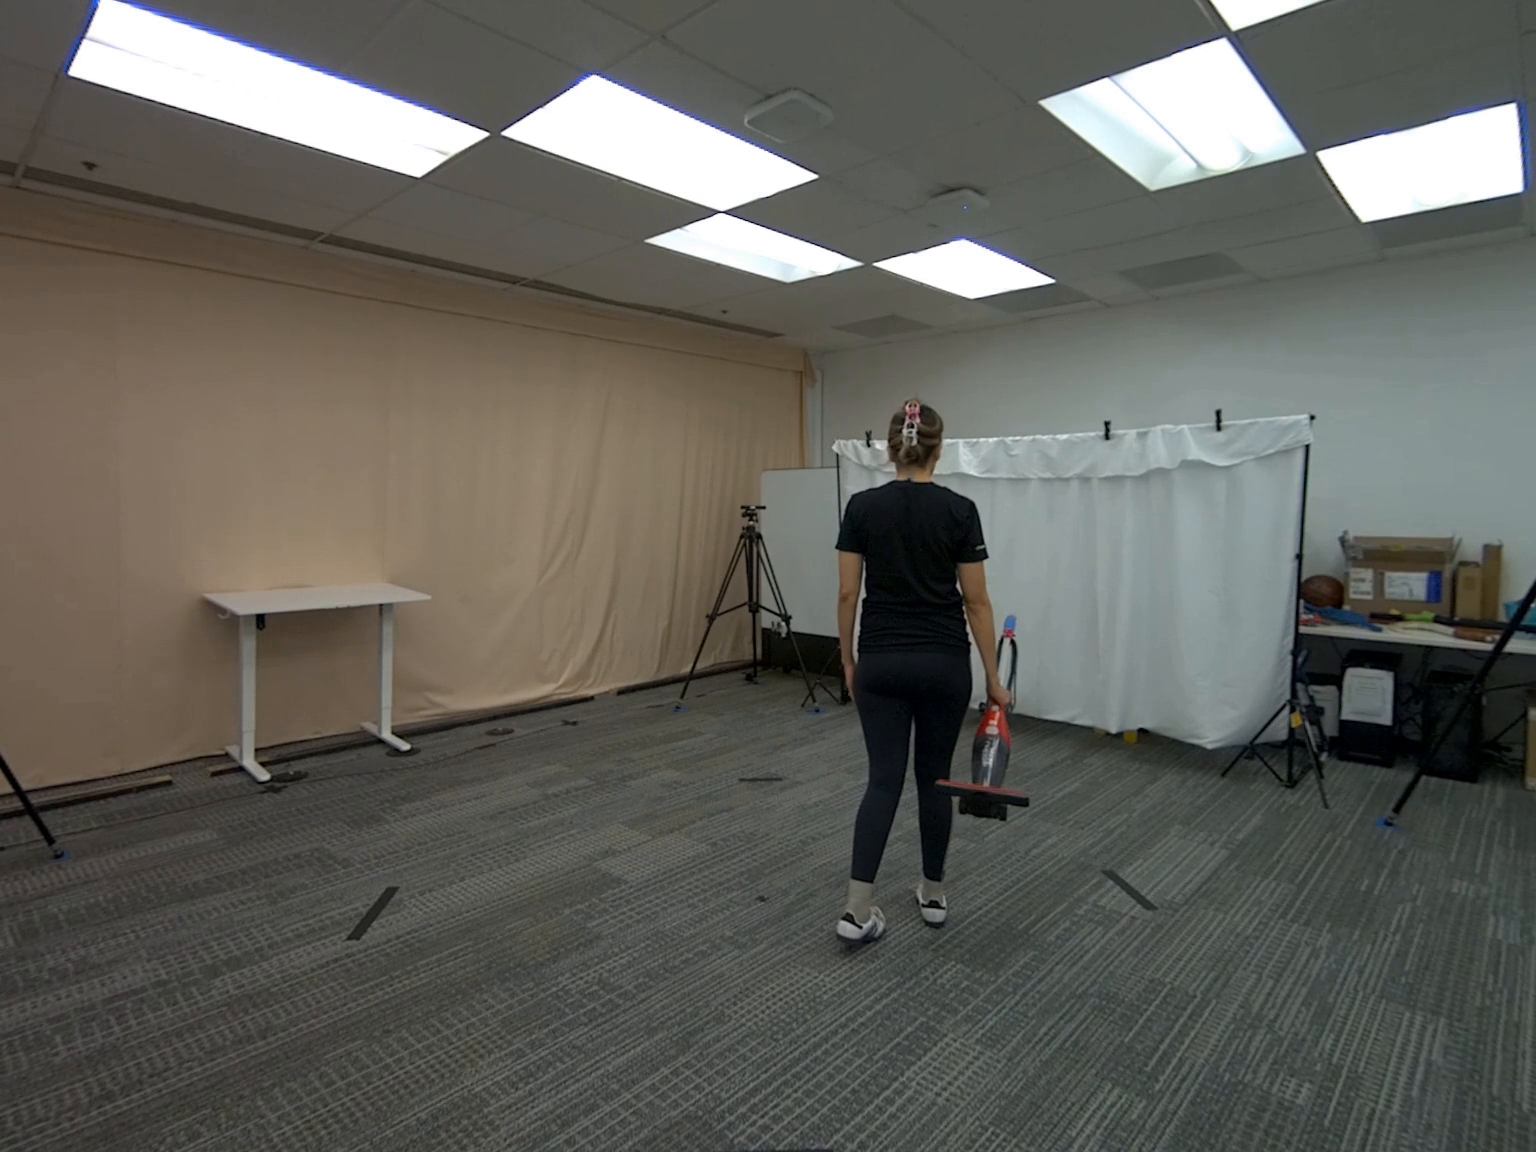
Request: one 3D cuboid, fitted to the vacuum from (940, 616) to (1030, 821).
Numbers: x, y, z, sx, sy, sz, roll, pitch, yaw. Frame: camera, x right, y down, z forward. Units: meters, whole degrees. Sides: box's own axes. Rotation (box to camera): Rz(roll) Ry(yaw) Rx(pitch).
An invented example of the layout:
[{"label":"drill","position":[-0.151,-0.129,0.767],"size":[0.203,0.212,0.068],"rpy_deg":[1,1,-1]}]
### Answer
[{"label":"vacuum","position":[0.808,0.404,2.812],"size":[0.258,0.141,1.045],"rpy_deg":[6,30,18]}]
